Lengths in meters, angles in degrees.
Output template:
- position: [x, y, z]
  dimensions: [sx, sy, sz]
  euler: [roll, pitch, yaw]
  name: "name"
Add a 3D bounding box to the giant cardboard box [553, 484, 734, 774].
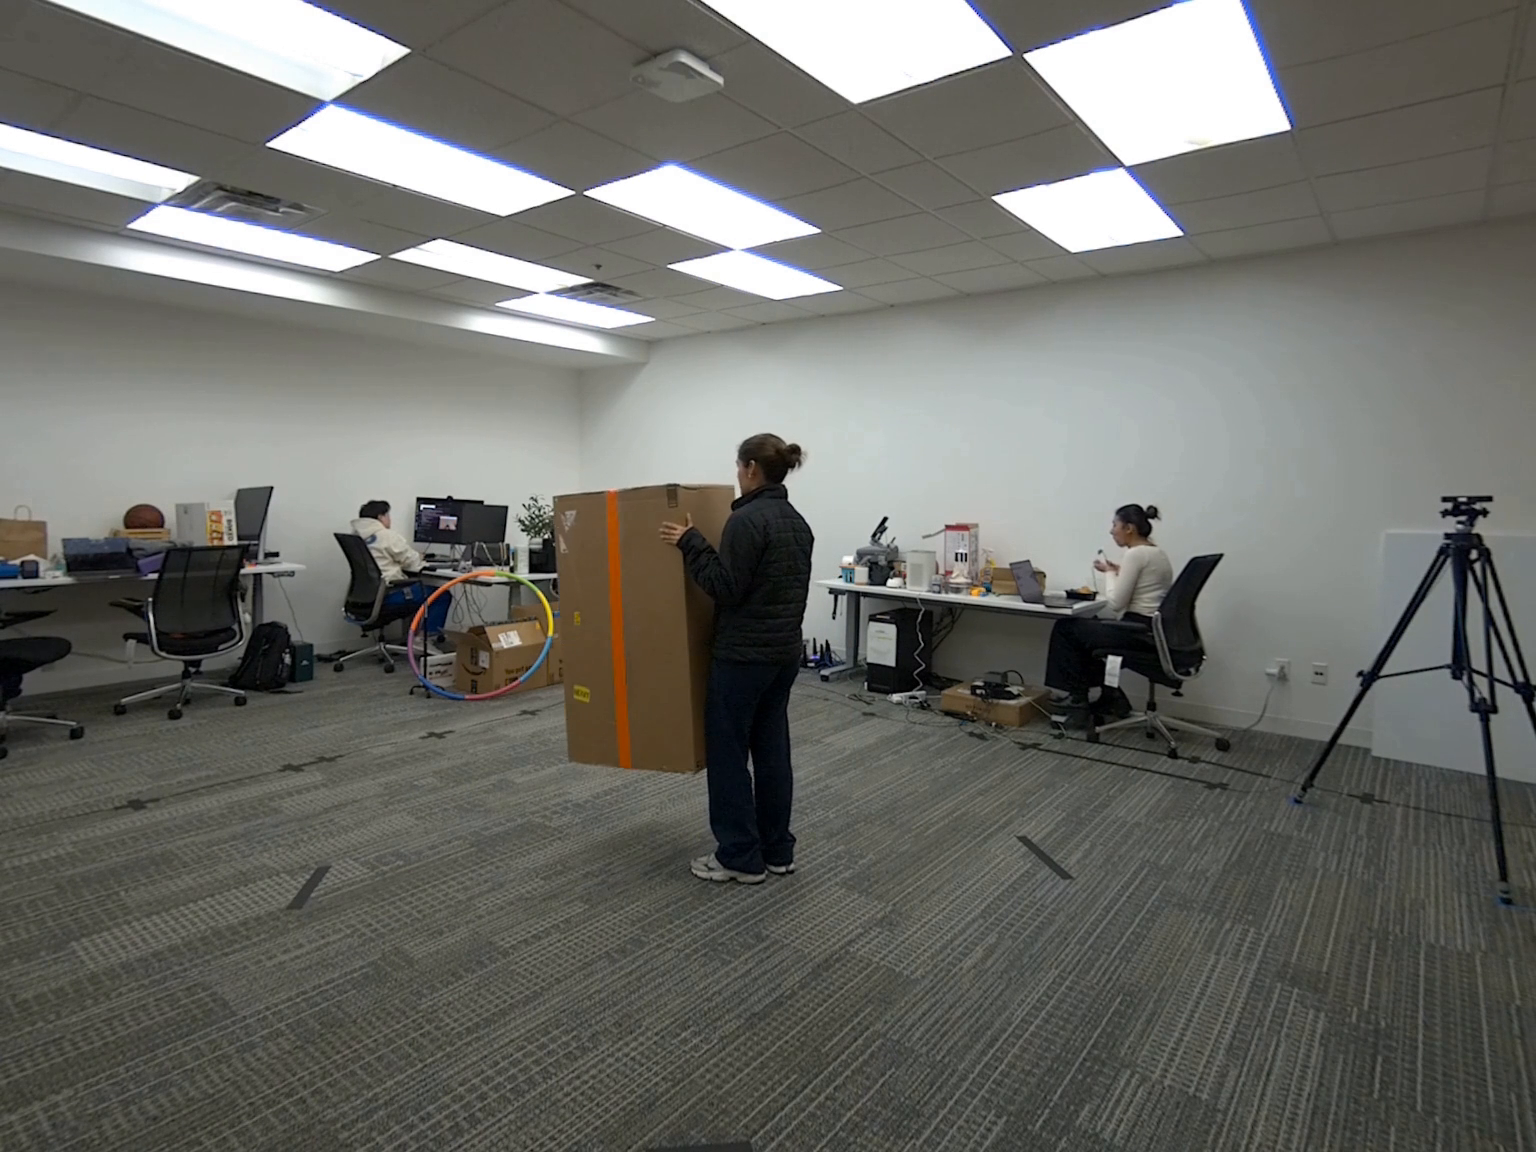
- position: [-0.432, 0.178, 3.305]
  dimensions: [0.593, 1.026, 0.415]
  euler: [-3, 0, 30]
  name: "giant cardboard box"
